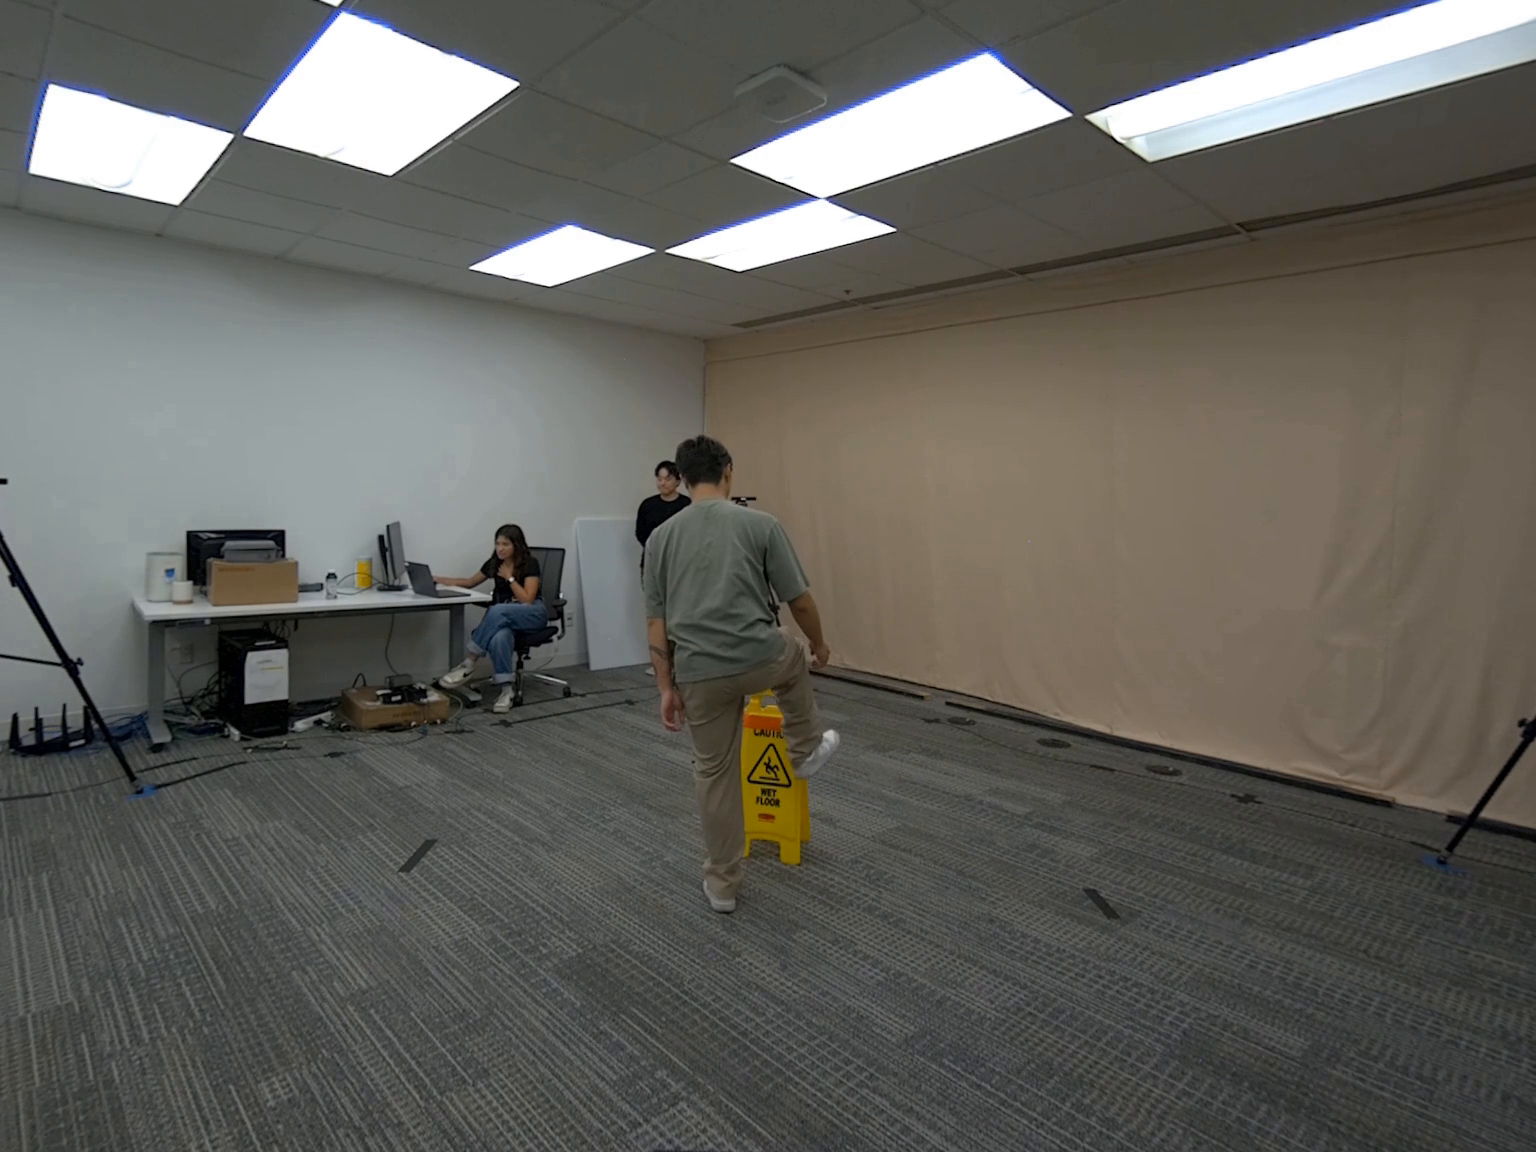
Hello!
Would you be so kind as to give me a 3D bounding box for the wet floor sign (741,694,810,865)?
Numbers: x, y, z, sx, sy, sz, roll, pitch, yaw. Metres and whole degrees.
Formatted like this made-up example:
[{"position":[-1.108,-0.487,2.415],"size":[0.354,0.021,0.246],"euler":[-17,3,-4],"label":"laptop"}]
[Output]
[{"position":[0.010,0.767,3.355],"size":[0.285,0.645,0.287],"euler":[2,2,13],"label":"wet floor sign"}]
